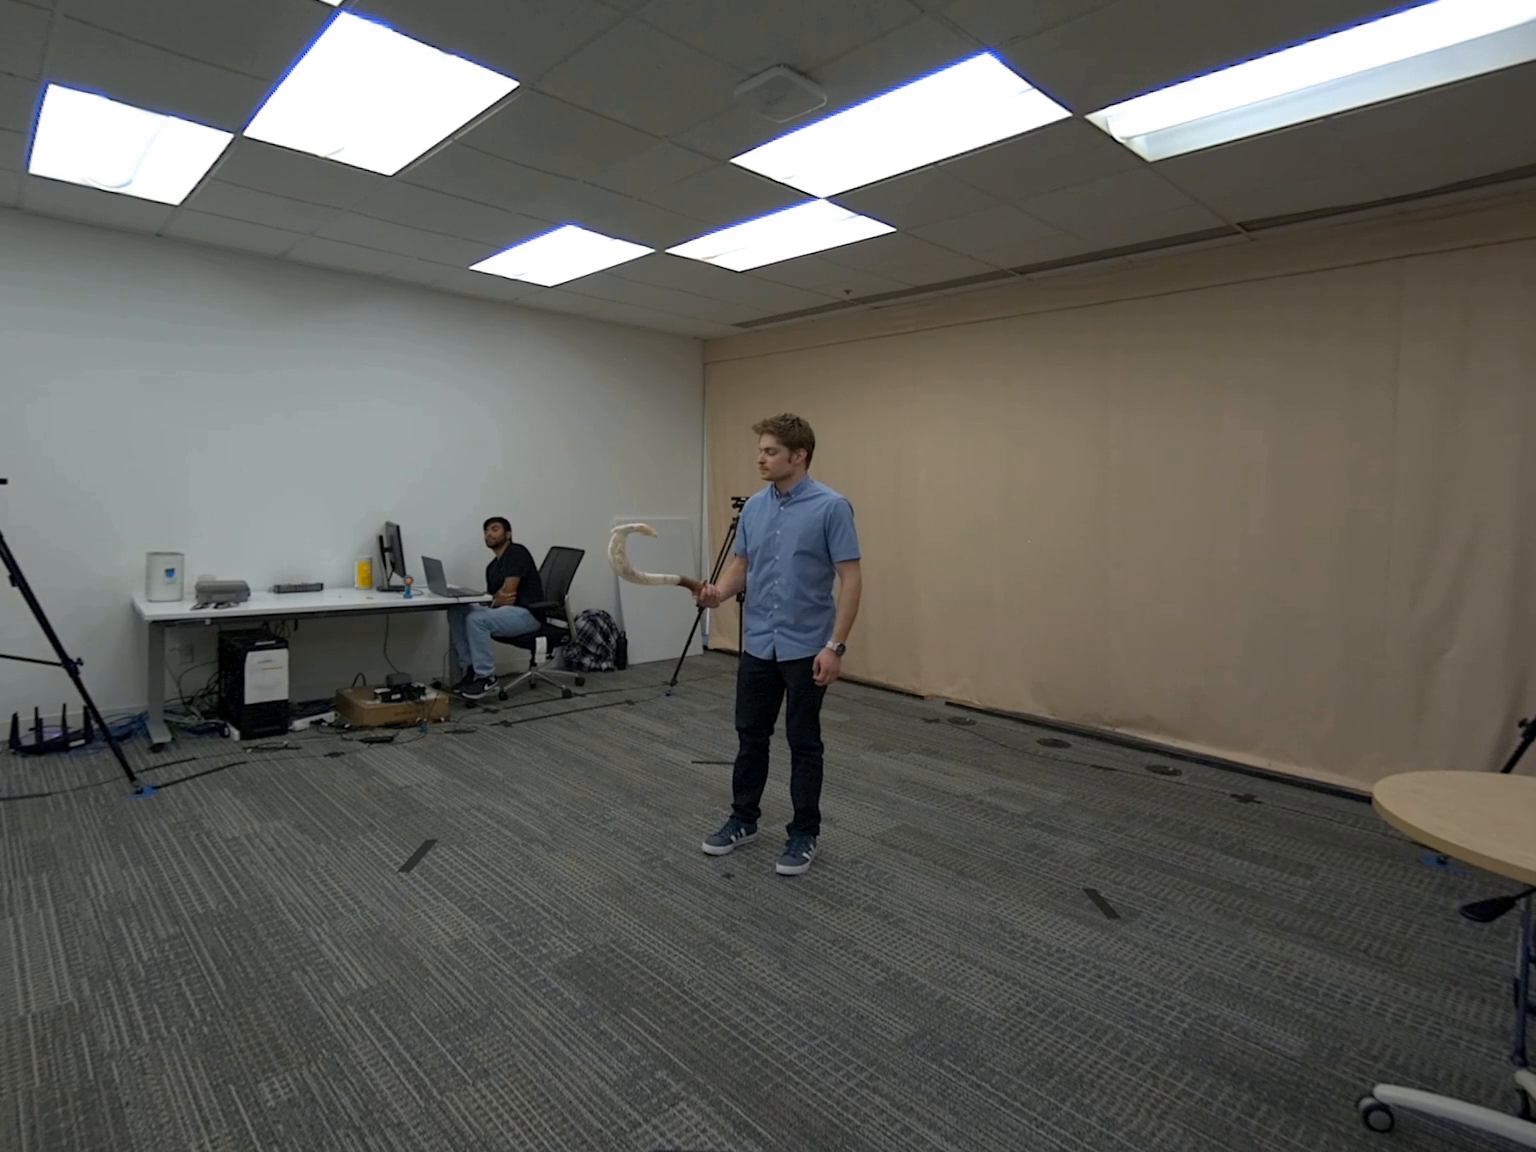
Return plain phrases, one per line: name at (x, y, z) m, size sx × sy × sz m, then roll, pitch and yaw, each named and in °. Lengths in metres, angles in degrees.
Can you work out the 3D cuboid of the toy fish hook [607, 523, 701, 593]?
toy fish hook at (-0.377, -0.028, 3.055) m, size 0.492 × 0.227 × 0.049 m, roll 22°, pitch -21°, yaw -39°
